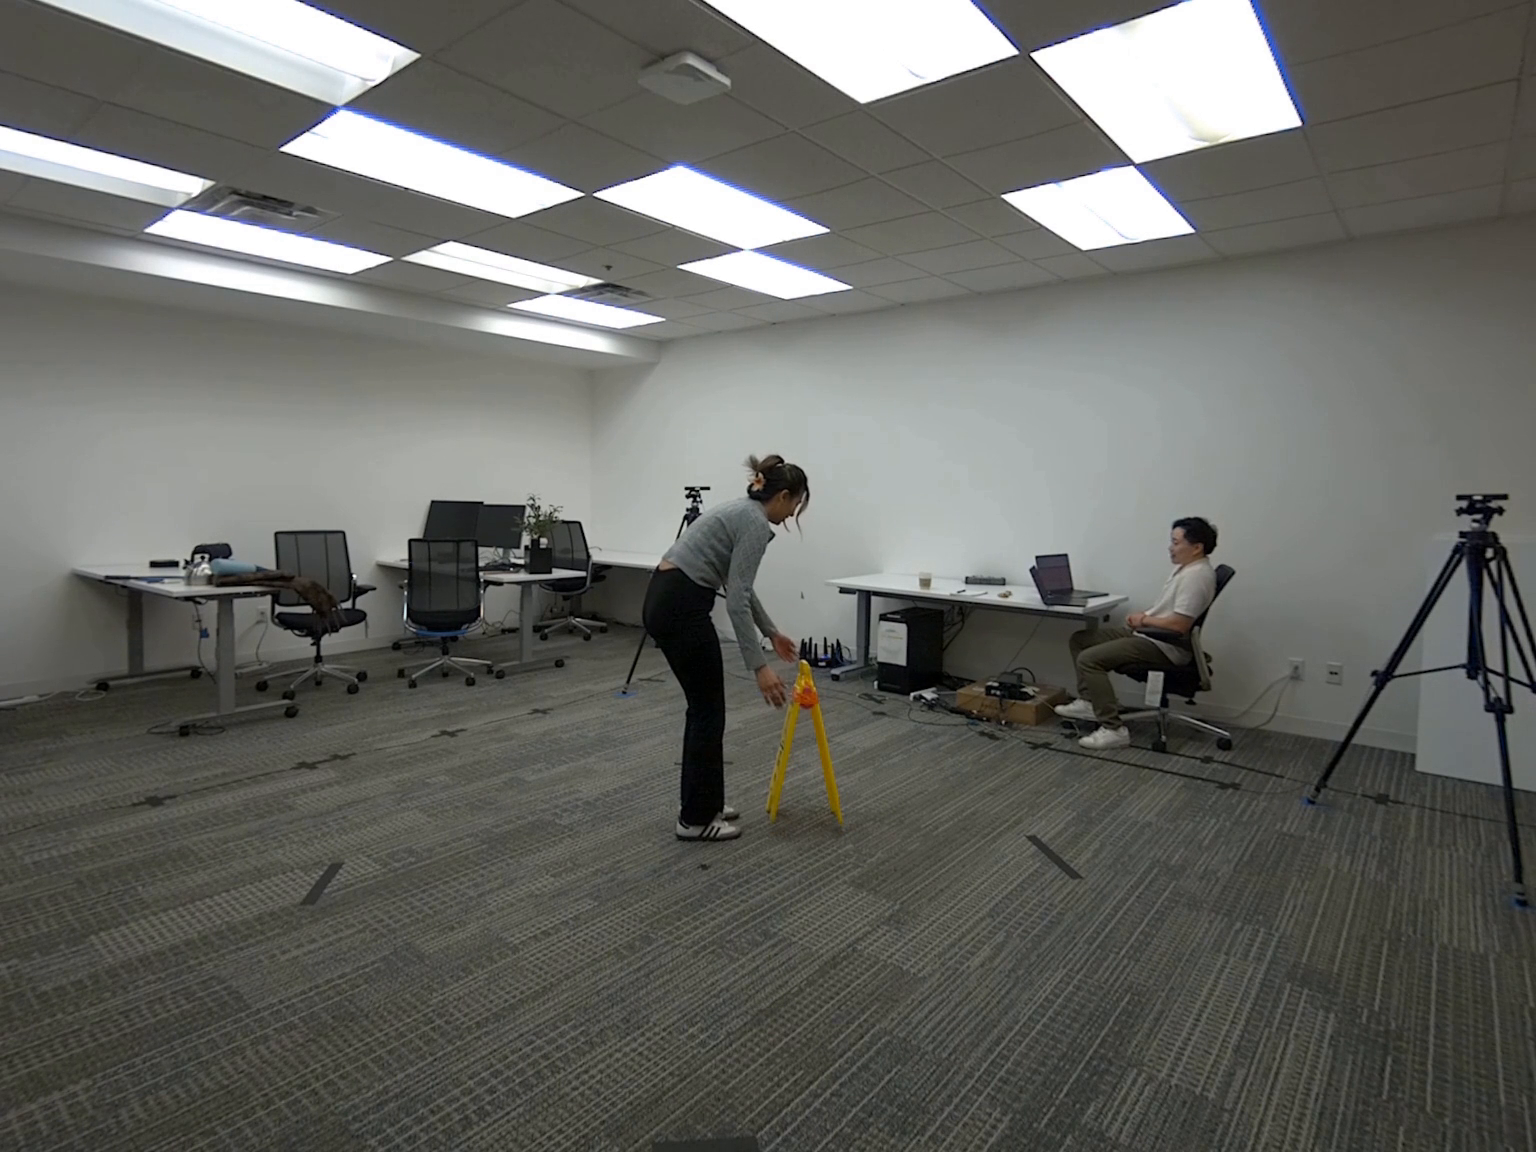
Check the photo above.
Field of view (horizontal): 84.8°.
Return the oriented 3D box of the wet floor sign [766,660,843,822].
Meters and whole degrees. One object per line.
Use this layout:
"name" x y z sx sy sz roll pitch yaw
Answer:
"wet floor sign" 0.143 0.685 3.586 0.289 0.648 0.281 1 -3 -2
